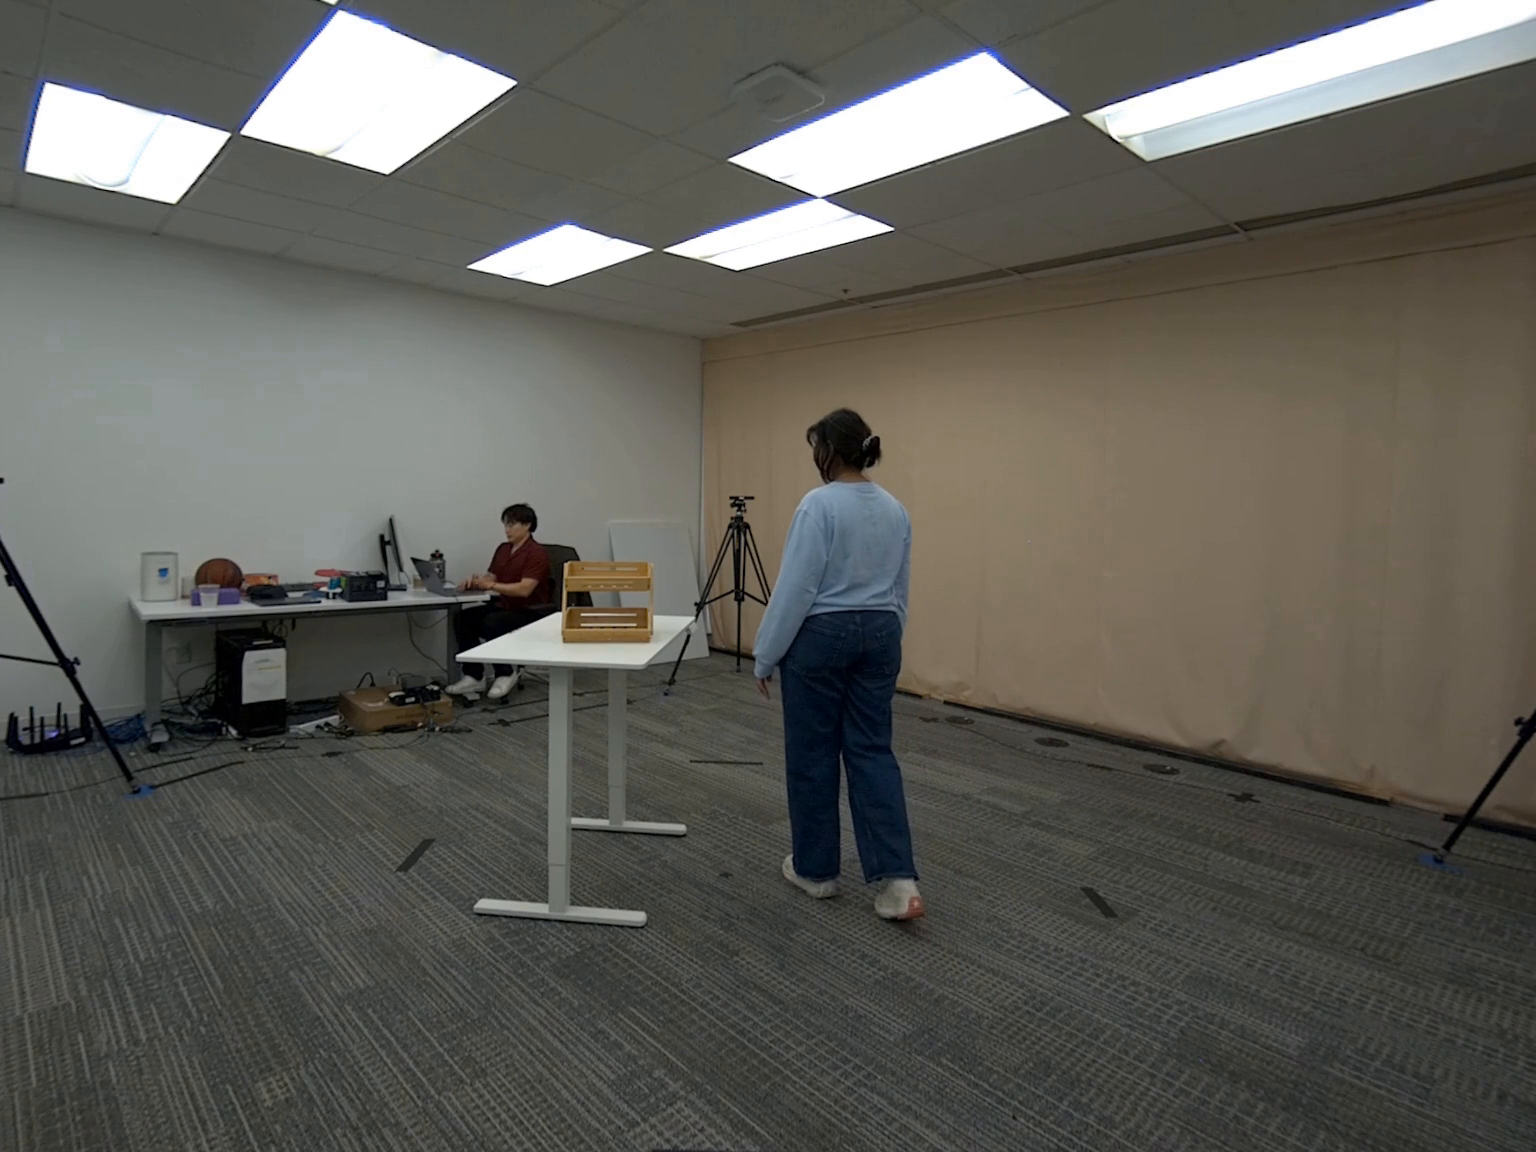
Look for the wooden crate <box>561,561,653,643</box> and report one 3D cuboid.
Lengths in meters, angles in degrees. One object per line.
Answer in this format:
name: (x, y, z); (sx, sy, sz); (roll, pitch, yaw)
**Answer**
wooden crate: (-0.580, 0.084, 3.030); (0.322, 0.273, 0.304); (1, 2, -8)
